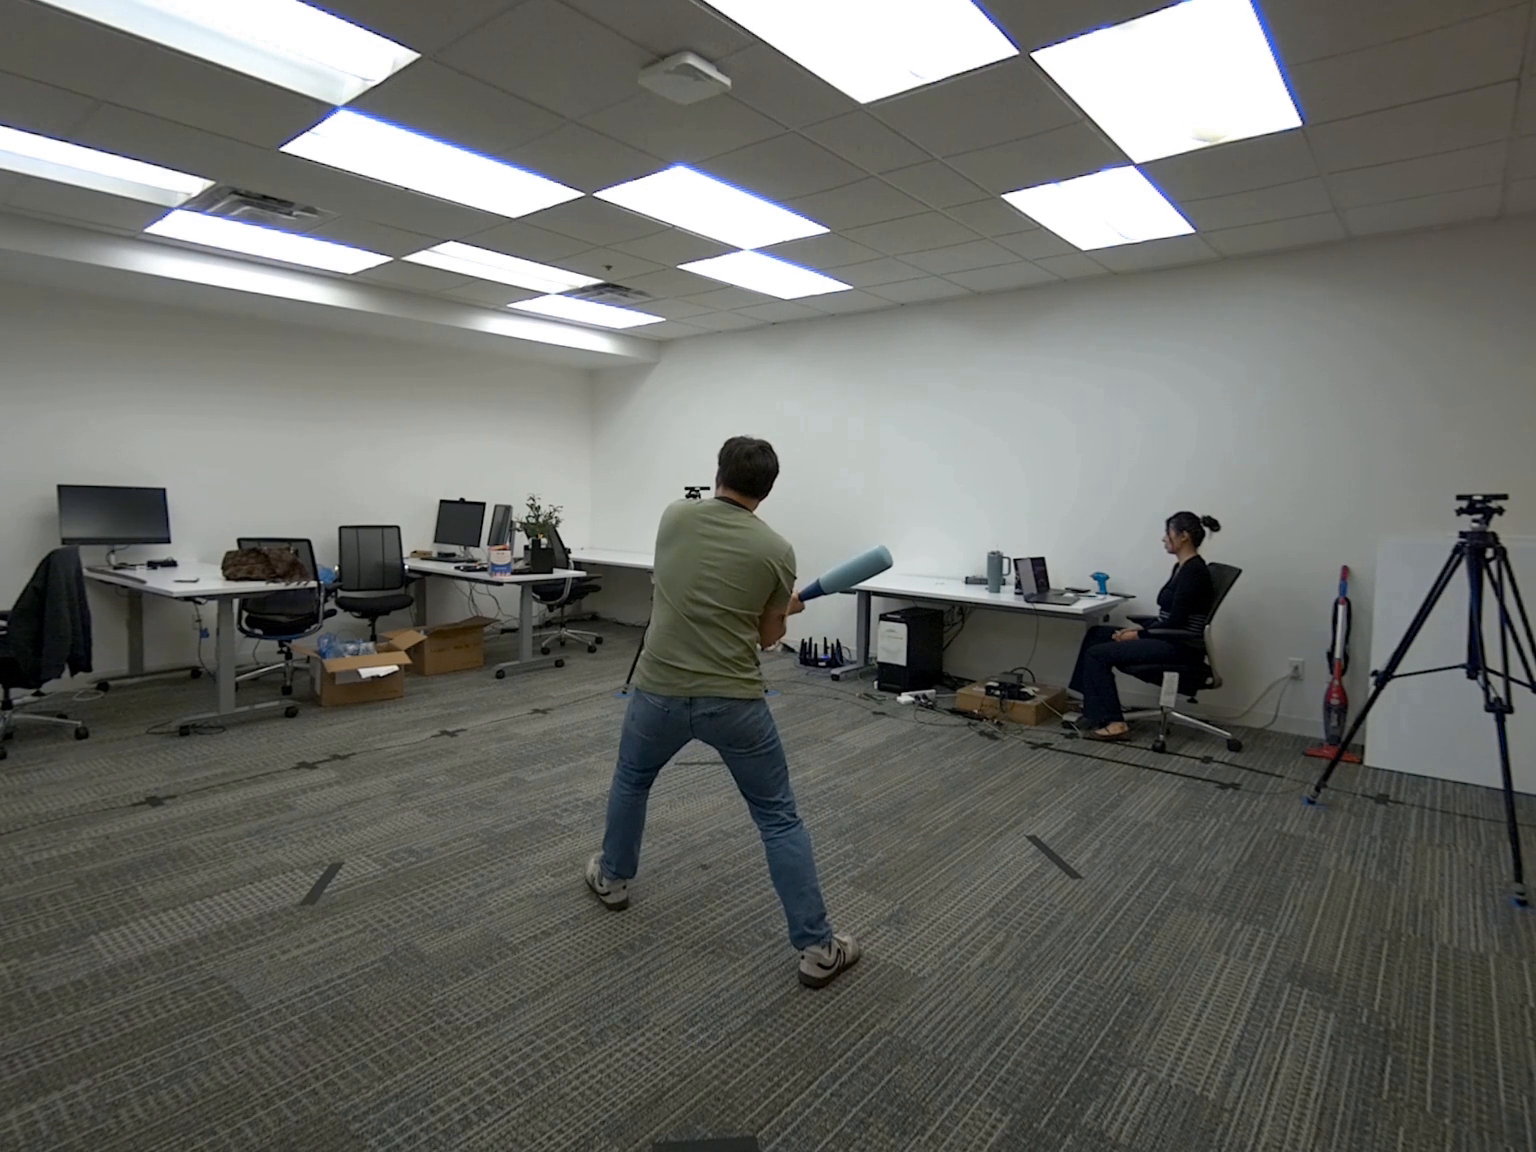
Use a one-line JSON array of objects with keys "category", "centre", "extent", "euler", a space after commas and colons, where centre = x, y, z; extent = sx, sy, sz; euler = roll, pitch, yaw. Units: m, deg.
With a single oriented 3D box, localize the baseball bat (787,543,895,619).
[{"category": "baseball bat", "centre": [0.165, 0.045, 2.889], "extent": [0.549, 0.090, 0.087], "euler": [-27, -10, 28]}]
